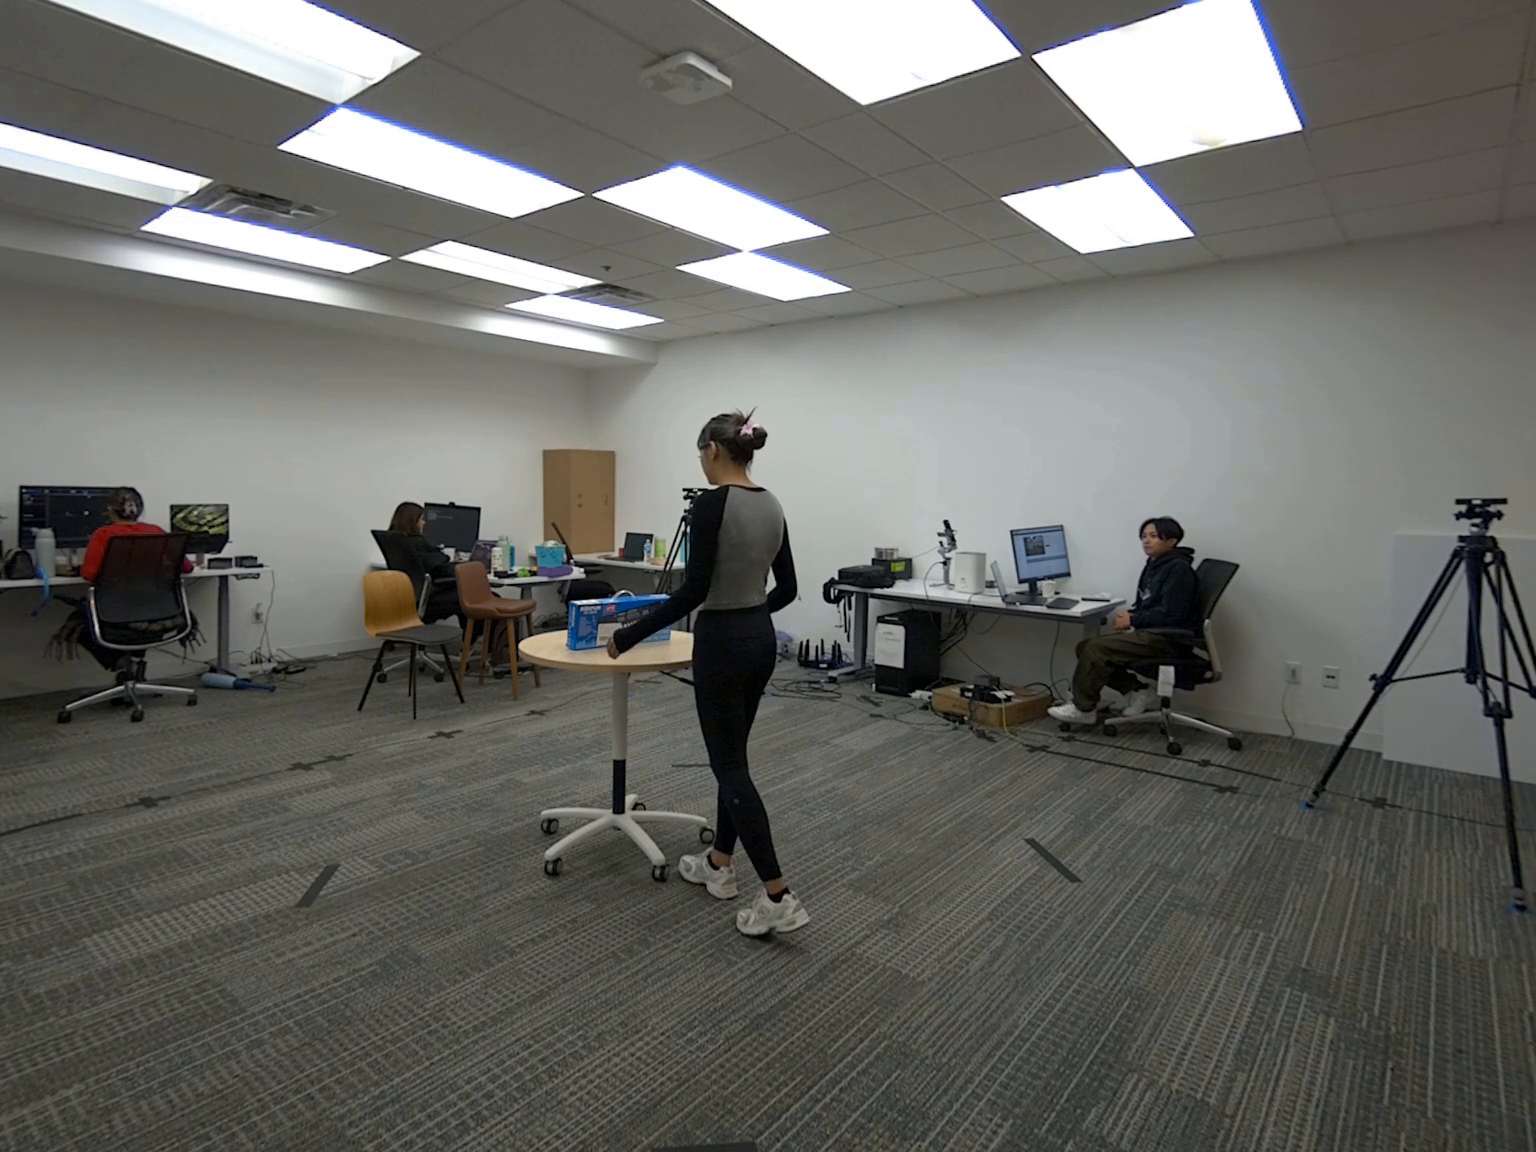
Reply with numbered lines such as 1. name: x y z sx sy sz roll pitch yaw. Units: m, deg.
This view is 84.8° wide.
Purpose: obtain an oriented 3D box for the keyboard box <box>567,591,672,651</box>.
1. keyboard box: -0.566 0.172 3.236 0.424 0.175 0.061 -4 12 -41
